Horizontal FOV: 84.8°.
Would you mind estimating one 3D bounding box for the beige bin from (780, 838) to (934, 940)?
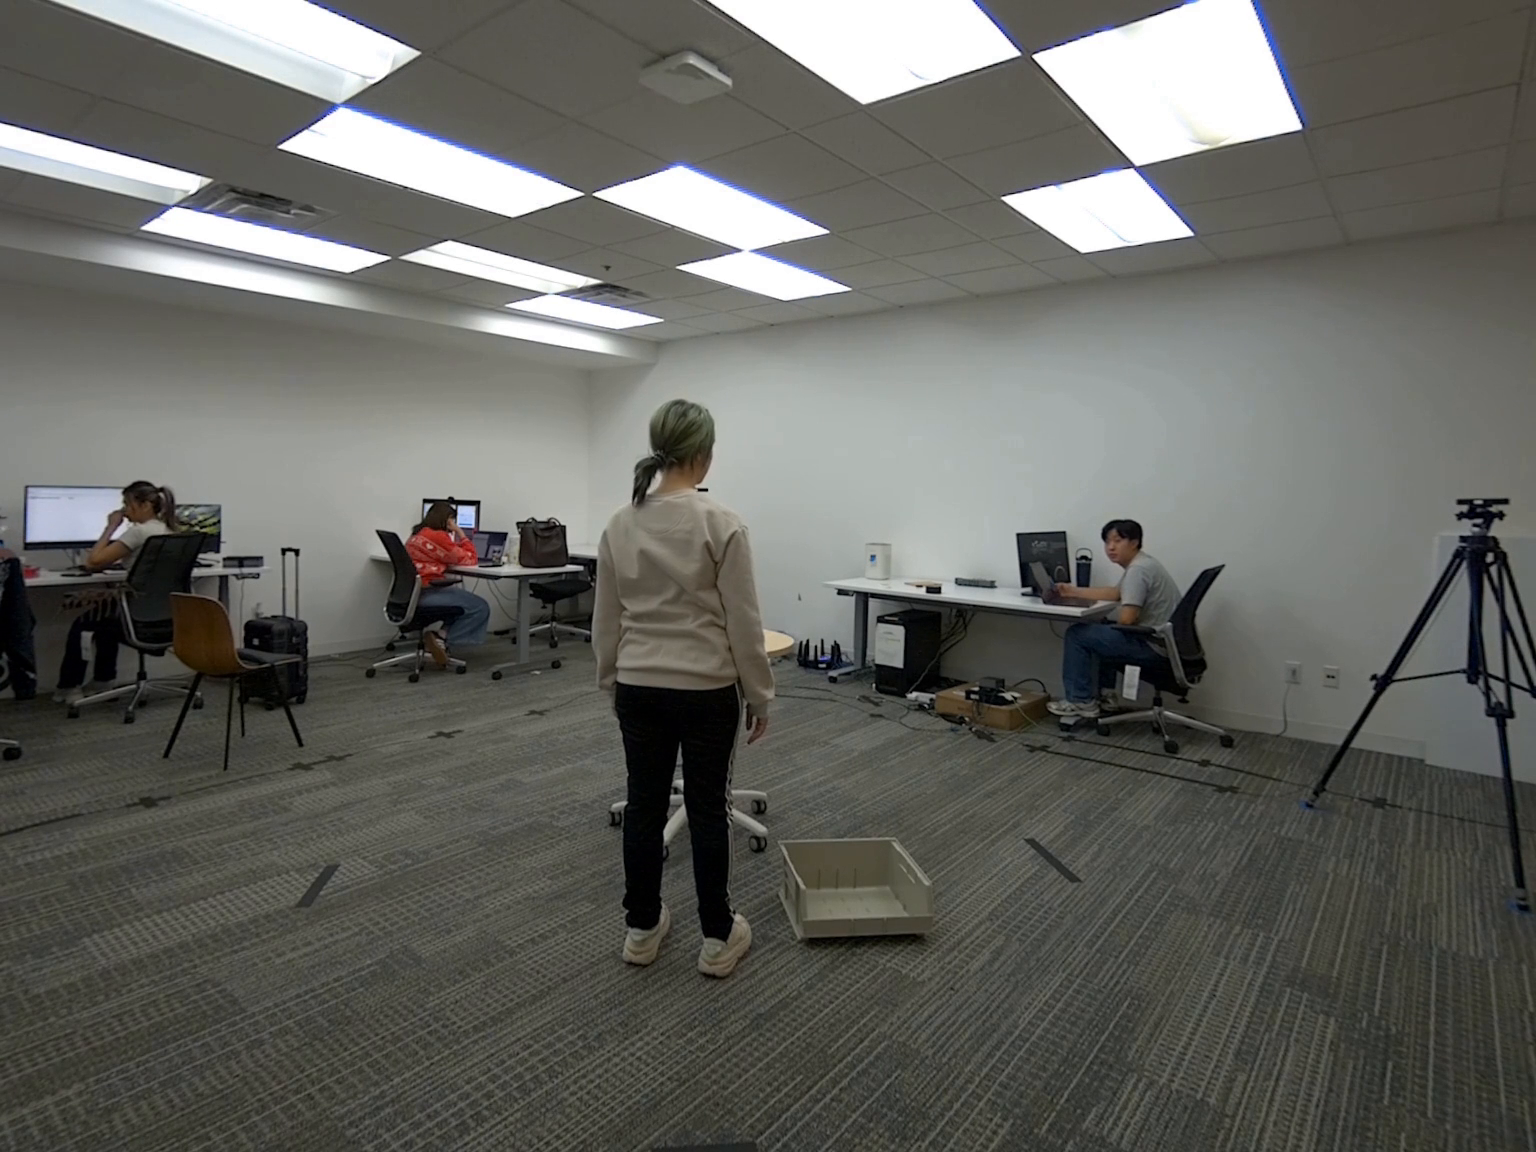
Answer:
[{"bbox_3d":[0.271,1.026,2.779,0.418,0.188,0.382,0,4,-10],"label":"beige bin"}]
